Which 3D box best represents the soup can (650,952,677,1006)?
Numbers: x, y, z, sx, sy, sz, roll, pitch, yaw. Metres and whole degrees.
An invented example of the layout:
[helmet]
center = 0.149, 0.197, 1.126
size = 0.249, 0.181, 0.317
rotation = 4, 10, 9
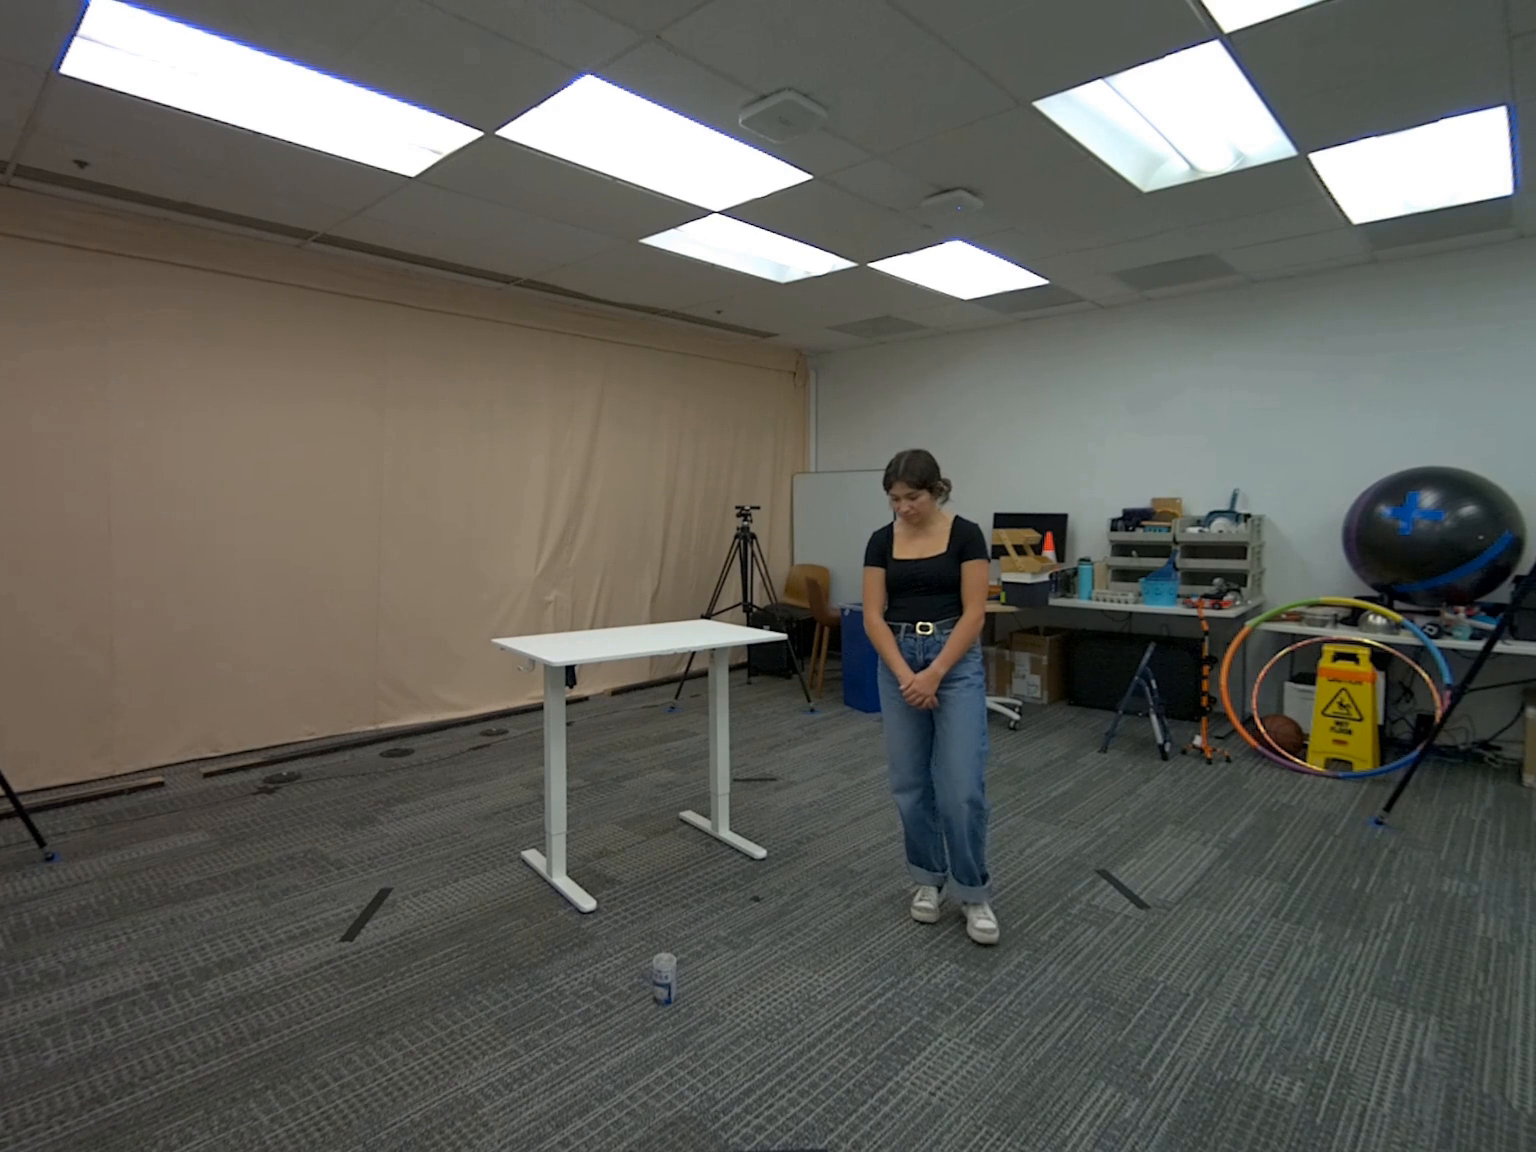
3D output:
[soup can]
center = -0.295, 1.131, 2.374
size = 0.067, 0.121, 0.067
rotation = -4, 4, -2
